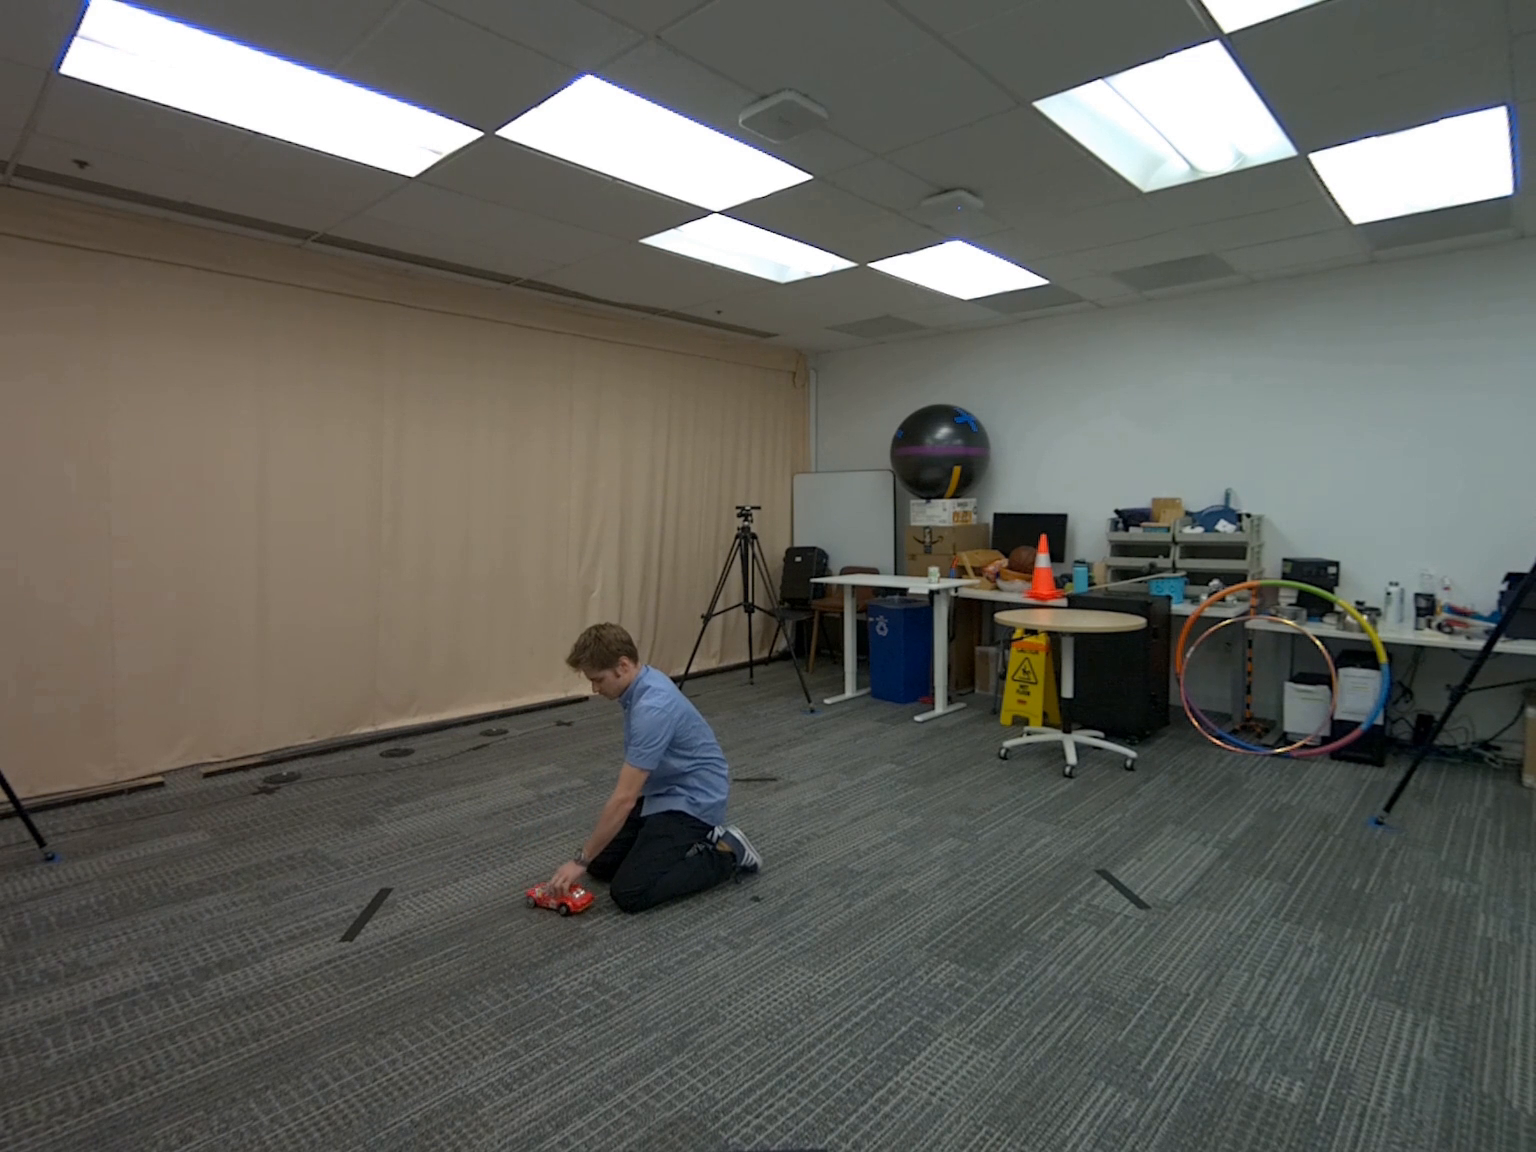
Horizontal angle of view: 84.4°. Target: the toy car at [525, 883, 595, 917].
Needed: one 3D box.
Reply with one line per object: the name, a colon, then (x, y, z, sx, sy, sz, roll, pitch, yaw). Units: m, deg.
toy car: (-0.726, 1.129, 2.934, 0.260, 0.083, 0.127, -8, 0, 27)
